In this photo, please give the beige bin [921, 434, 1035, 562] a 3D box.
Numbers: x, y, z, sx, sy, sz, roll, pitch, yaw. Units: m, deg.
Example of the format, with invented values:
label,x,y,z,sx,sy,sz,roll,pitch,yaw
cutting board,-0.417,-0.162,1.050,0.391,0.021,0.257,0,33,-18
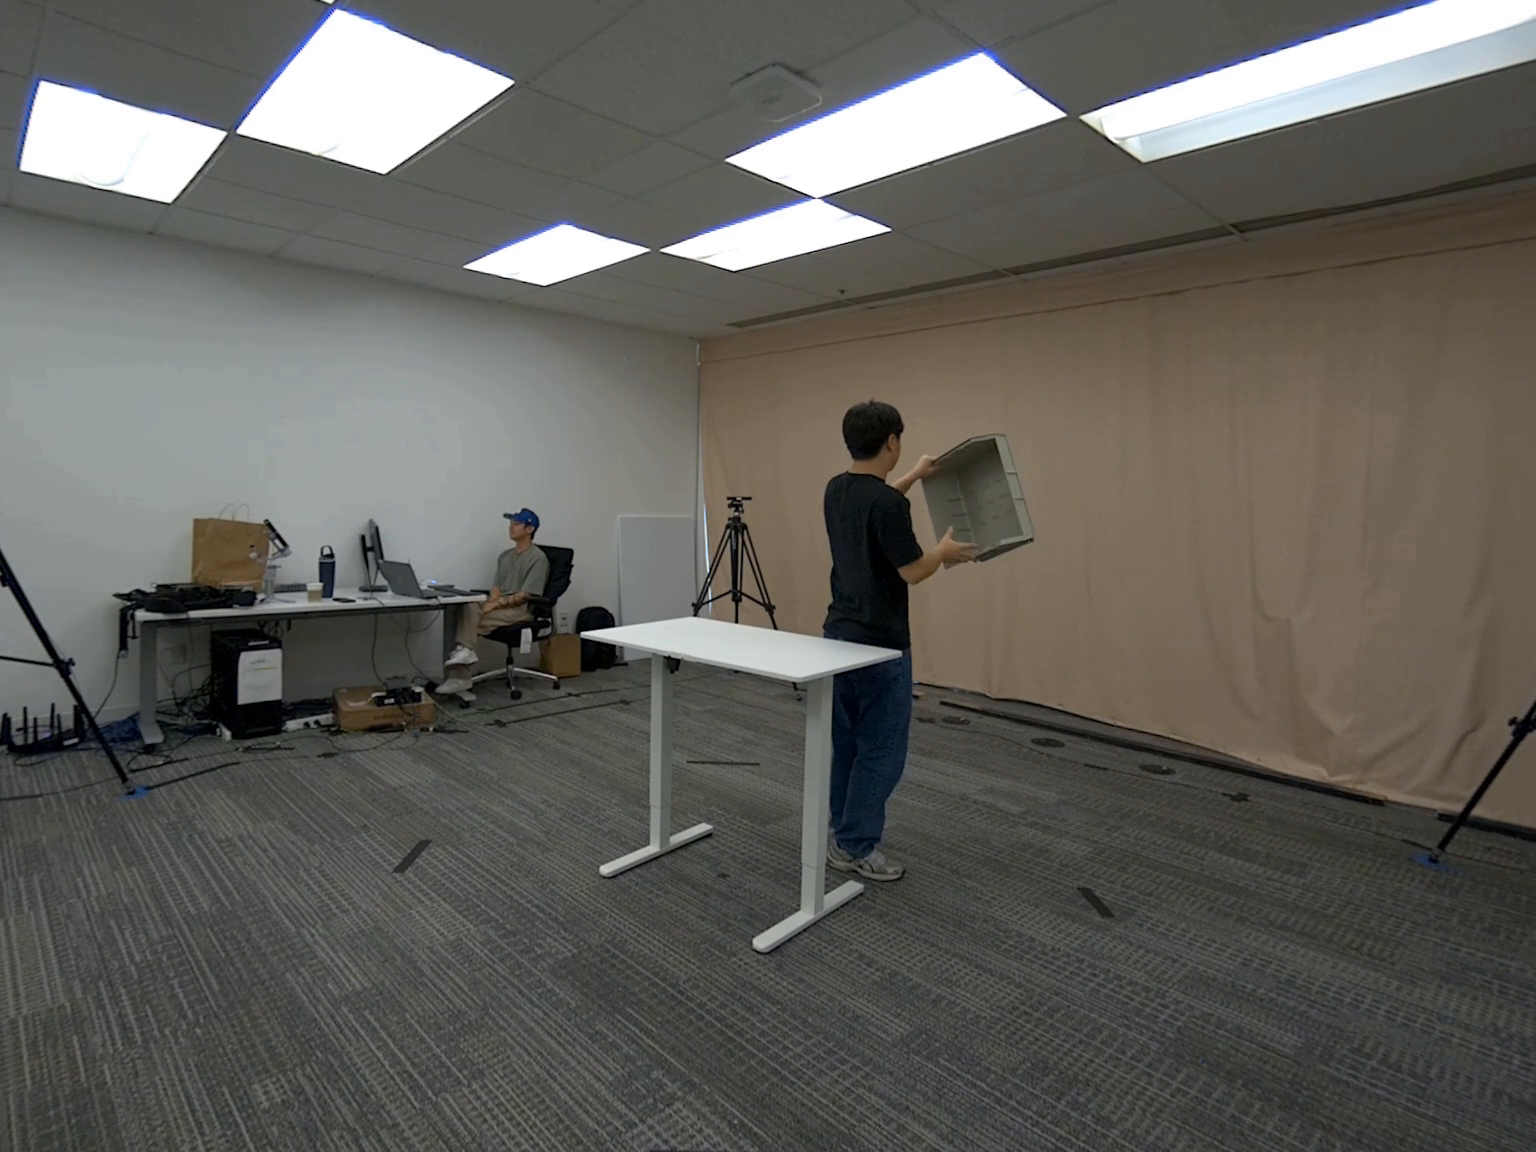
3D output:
label,x,y,z,sx,sy,sz,roll,pitch,yaw
beige bin,0.802,-0.288,3.261,0.186,0.427,0.379,-8,-13,-25
